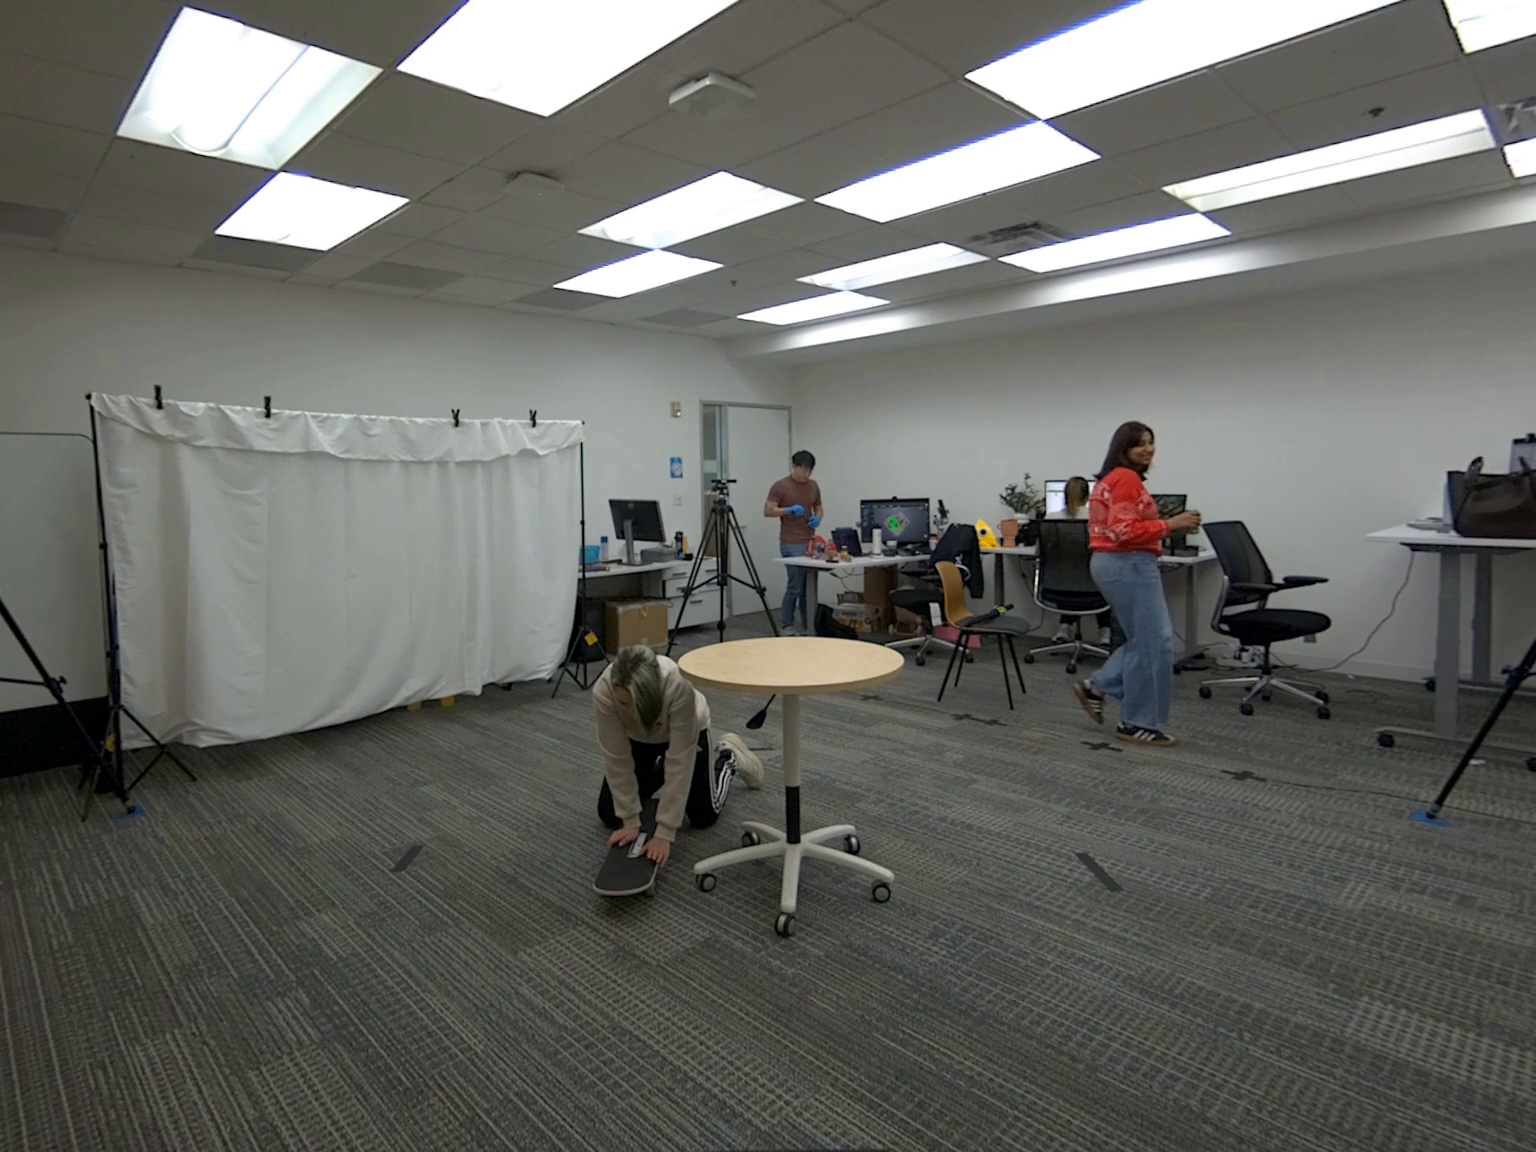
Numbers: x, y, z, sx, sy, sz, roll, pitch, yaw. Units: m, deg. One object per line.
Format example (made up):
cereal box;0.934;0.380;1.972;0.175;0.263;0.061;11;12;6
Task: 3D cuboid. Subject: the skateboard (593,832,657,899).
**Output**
skateboard;-0.472;1.011;3.084;0.194;0.110;0.786;-3;6;1
